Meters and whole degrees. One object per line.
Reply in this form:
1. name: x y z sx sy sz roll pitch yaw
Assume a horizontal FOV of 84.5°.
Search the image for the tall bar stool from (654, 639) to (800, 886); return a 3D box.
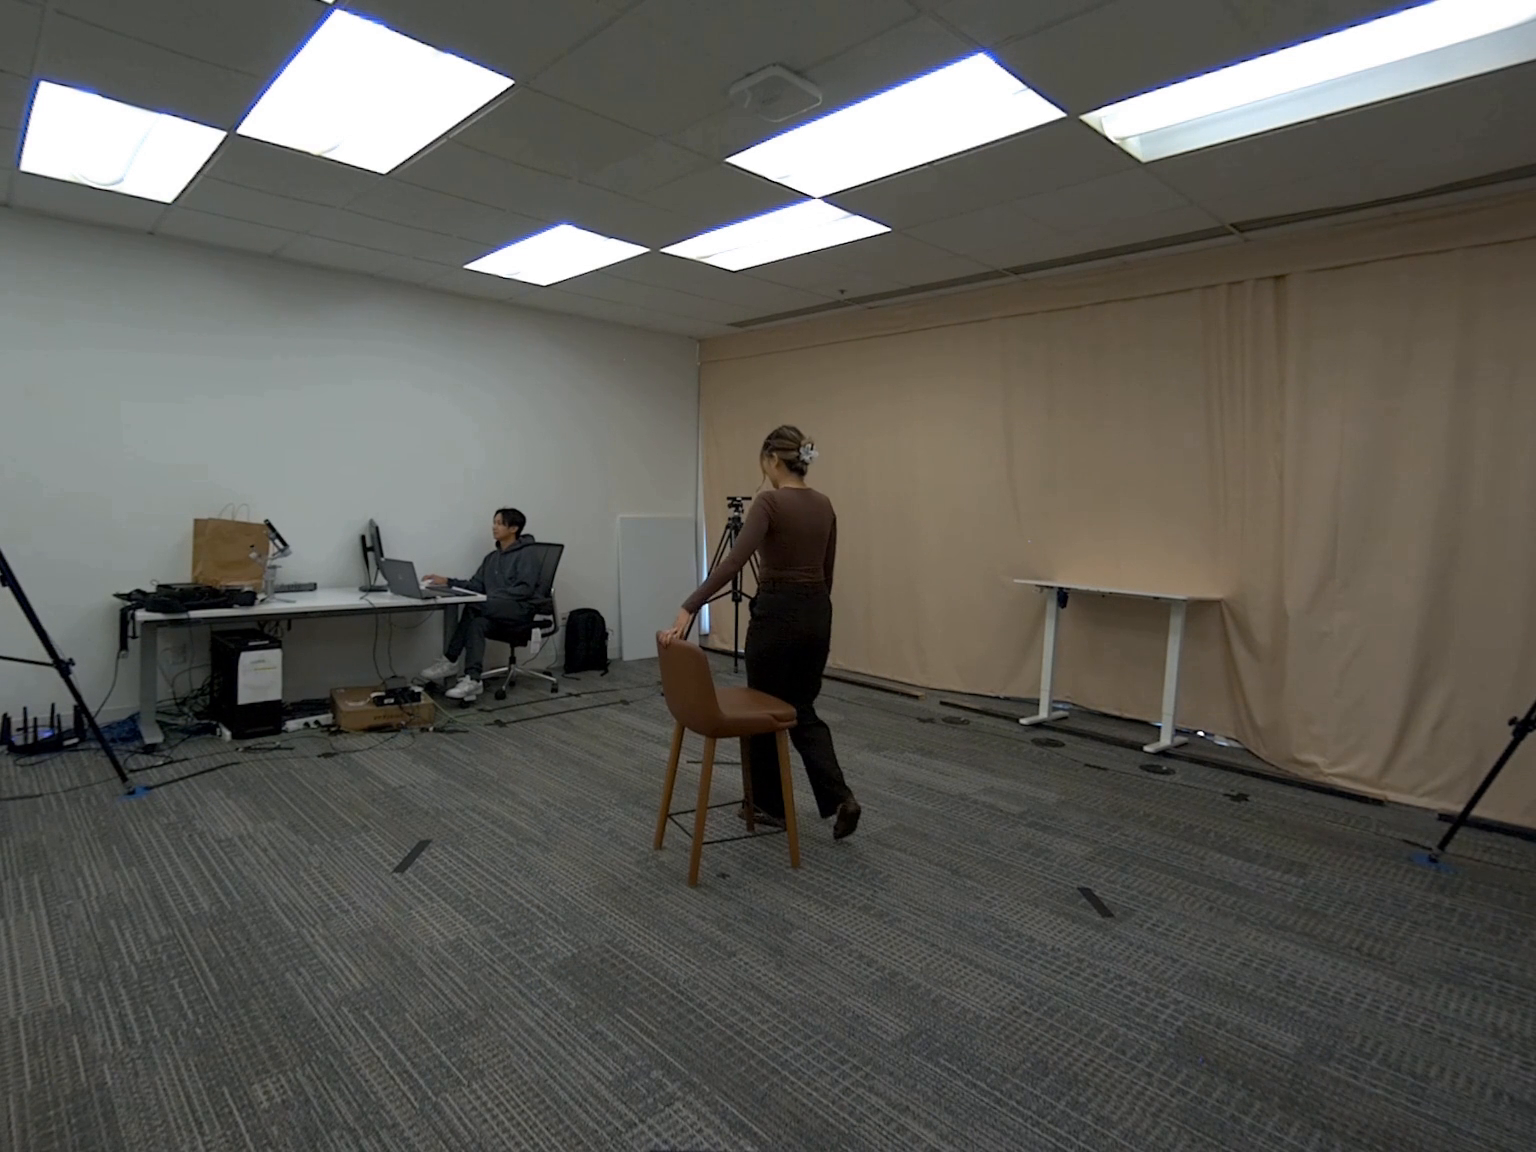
1. tall bar stool: -0.173 0.660 3.239 0.459 0.887 0.466 -2 4 -27
